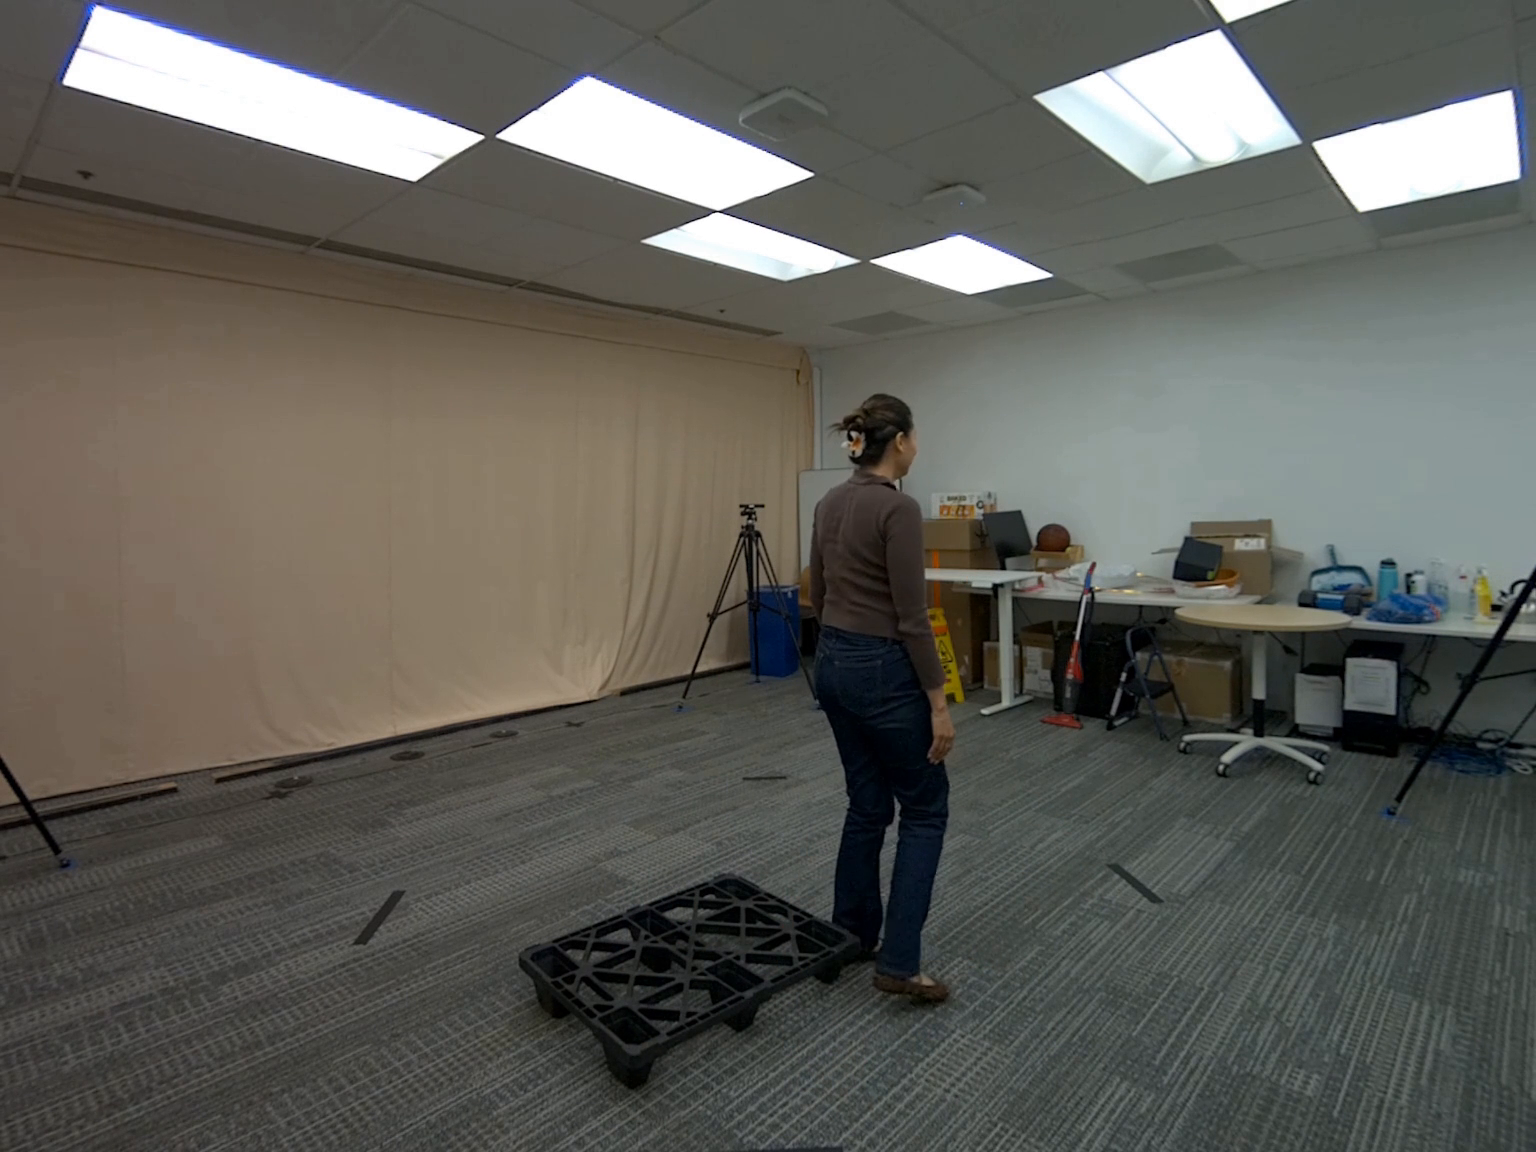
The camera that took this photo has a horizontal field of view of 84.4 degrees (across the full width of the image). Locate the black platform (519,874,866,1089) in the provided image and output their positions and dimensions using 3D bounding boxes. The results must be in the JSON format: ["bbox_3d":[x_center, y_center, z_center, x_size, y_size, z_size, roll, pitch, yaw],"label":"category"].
[{"bbox_3d":[-0.224,1.126,2.414,0.781,0.143,0.625,-5,6,-40],"label":"black platform"}]
